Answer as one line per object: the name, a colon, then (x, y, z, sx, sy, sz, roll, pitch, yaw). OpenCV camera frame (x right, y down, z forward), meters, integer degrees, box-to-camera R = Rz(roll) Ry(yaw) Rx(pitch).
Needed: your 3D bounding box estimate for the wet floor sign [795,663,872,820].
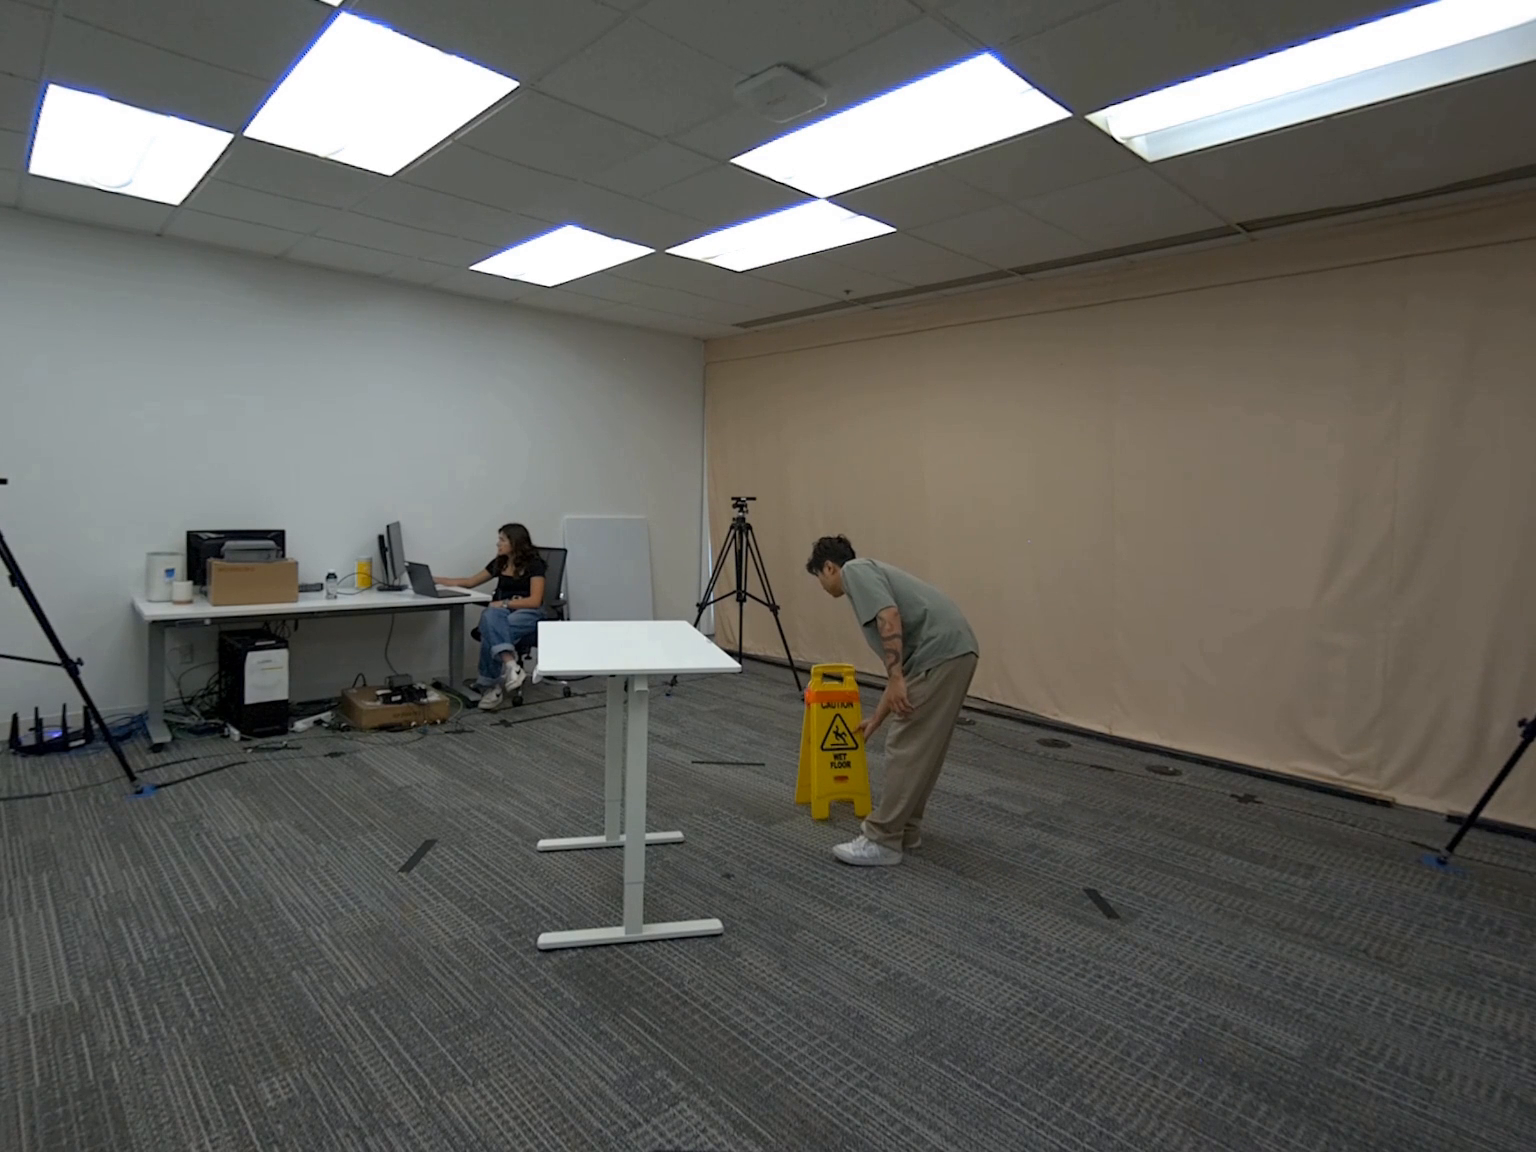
wet floor sign: (0.287, 0.724, 3.812, 0.279, 0.647, 0.292, 1, -2, -14)
